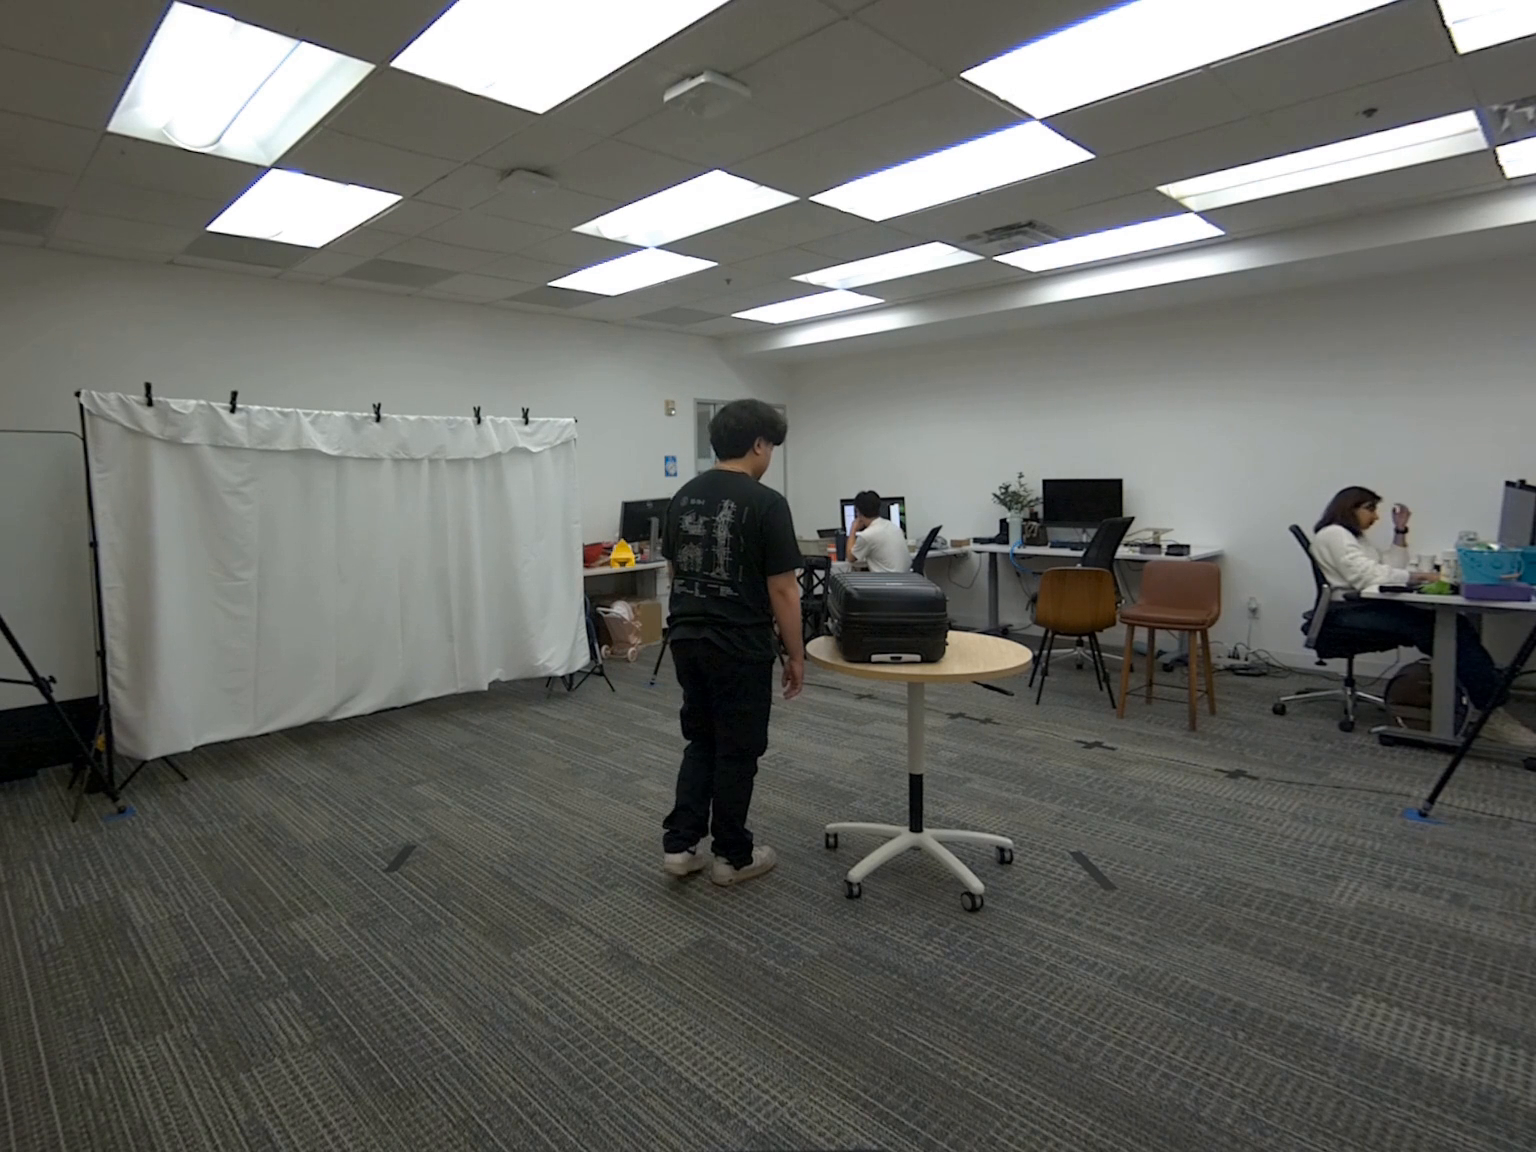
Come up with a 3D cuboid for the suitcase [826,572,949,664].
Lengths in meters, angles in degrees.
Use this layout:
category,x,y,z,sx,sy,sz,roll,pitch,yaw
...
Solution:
category,x,y,z,sx,sy,sz,roll,pitch,yaw
suitcase,0.412,0.134,2.980,0.376,0.247,0.551,1,7,1
